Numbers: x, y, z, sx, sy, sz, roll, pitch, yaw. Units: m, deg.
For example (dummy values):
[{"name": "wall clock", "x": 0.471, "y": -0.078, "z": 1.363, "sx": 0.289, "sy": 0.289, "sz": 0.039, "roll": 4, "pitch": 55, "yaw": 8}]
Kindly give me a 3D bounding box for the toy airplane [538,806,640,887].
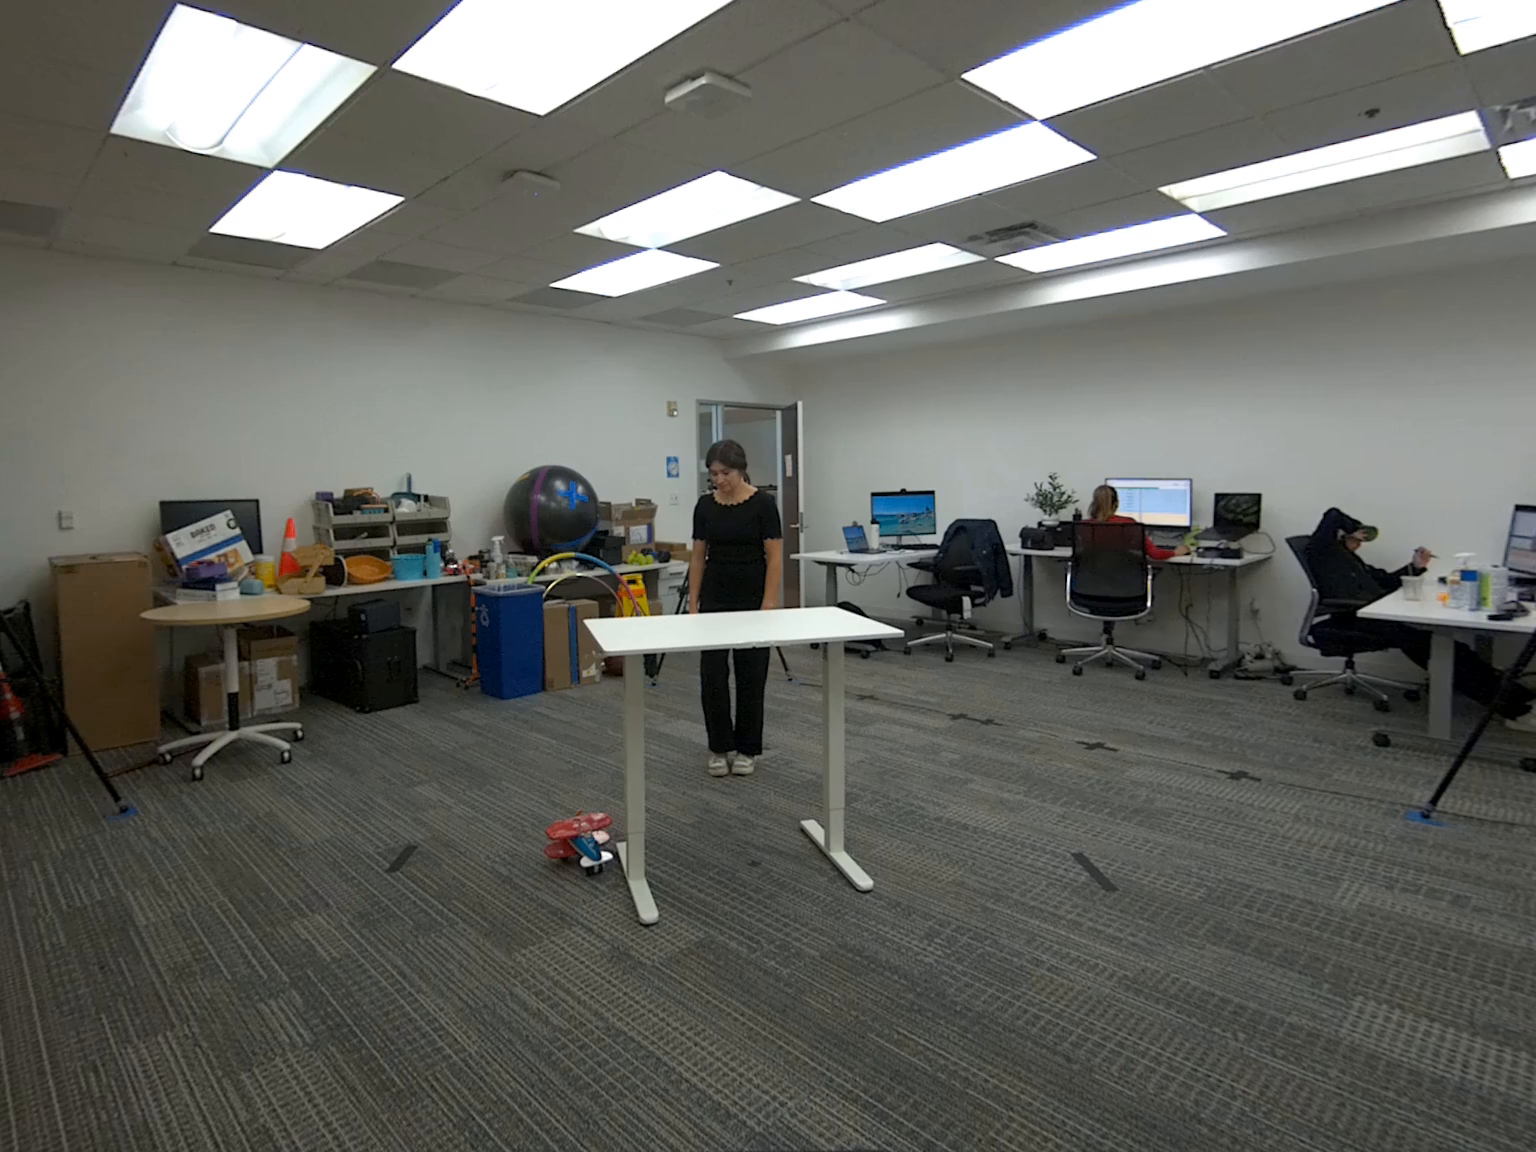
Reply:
[{"name": "toy airplane", "x": -0.652, "y": 0.979, "z": 3.127, "sx": 0.265, "sy": 0.156, "sz": 0.246, "roll": 0, "pitch": 6, "yaw": 26}]
